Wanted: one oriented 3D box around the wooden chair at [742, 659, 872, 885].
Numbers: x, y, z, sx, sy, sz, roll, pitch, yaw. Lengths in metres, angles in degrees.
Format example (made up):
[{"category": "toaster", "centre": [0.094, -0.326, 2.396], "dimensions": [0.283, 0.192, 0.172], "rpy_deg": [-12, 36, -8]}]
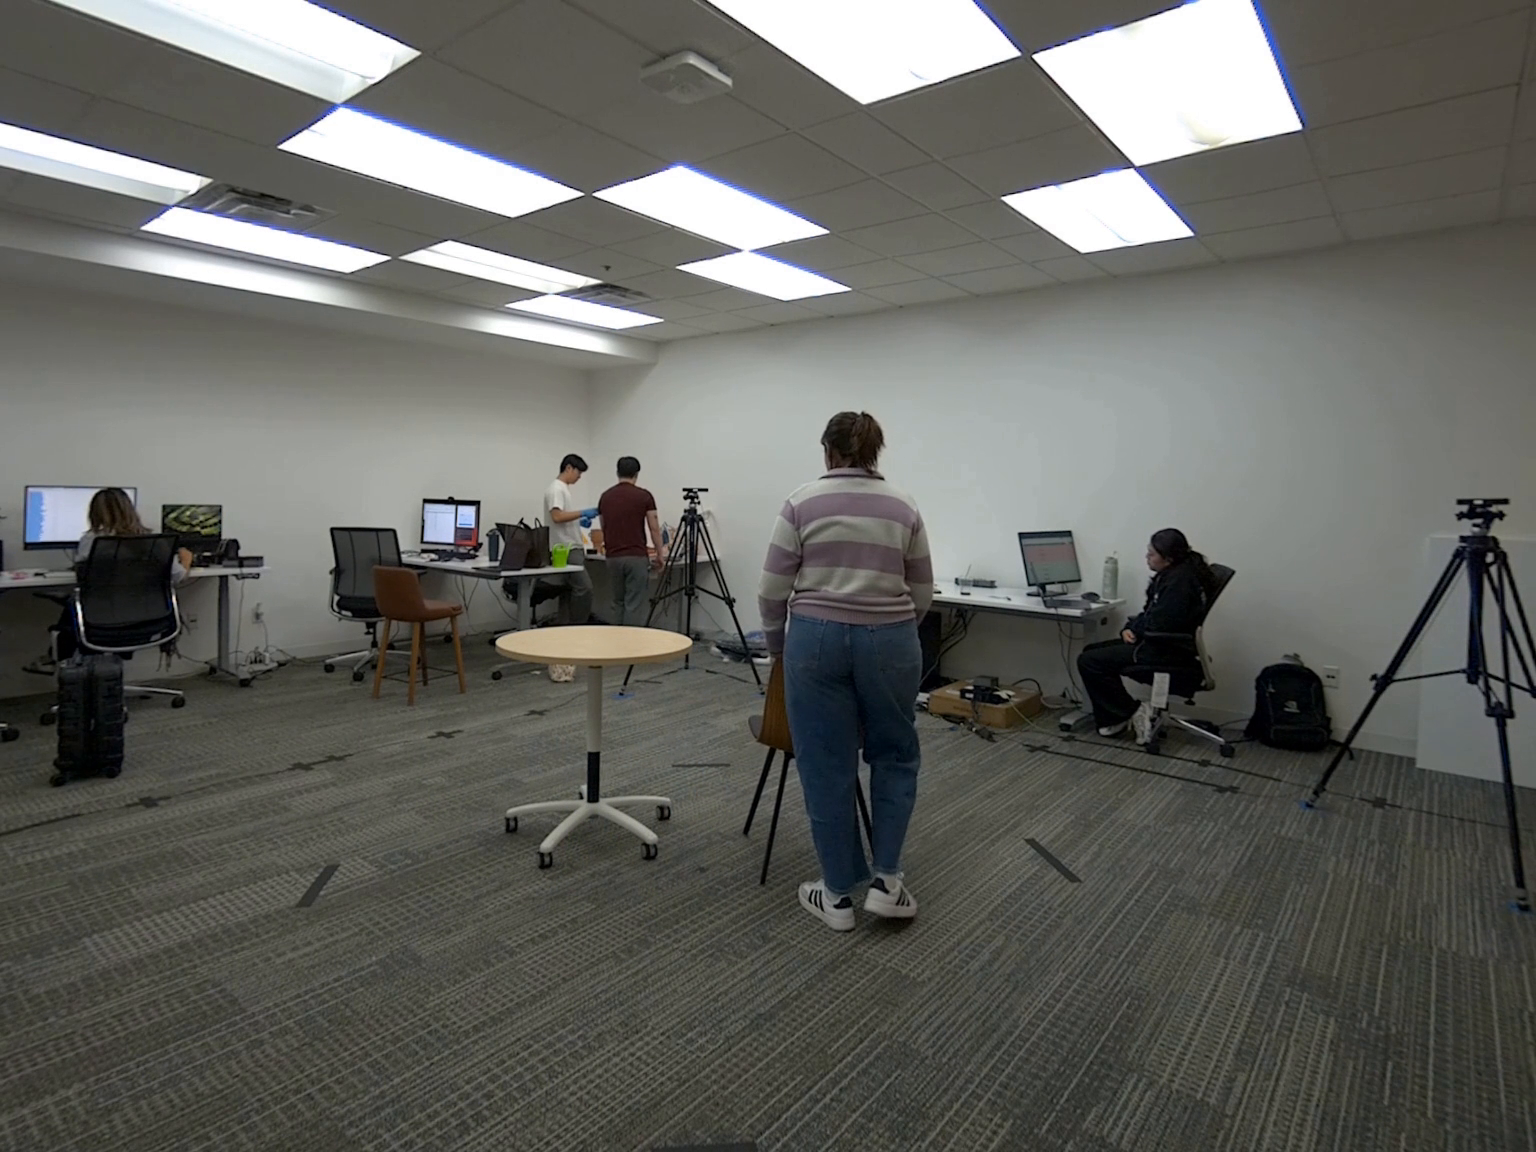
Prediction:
[{"category": "wooden chair", "centre": [0.154, 0.642, 3.219], "dimensions": [0.475, 0.871, 0.531], "rpy_deg": [2, 8, -8]}]
